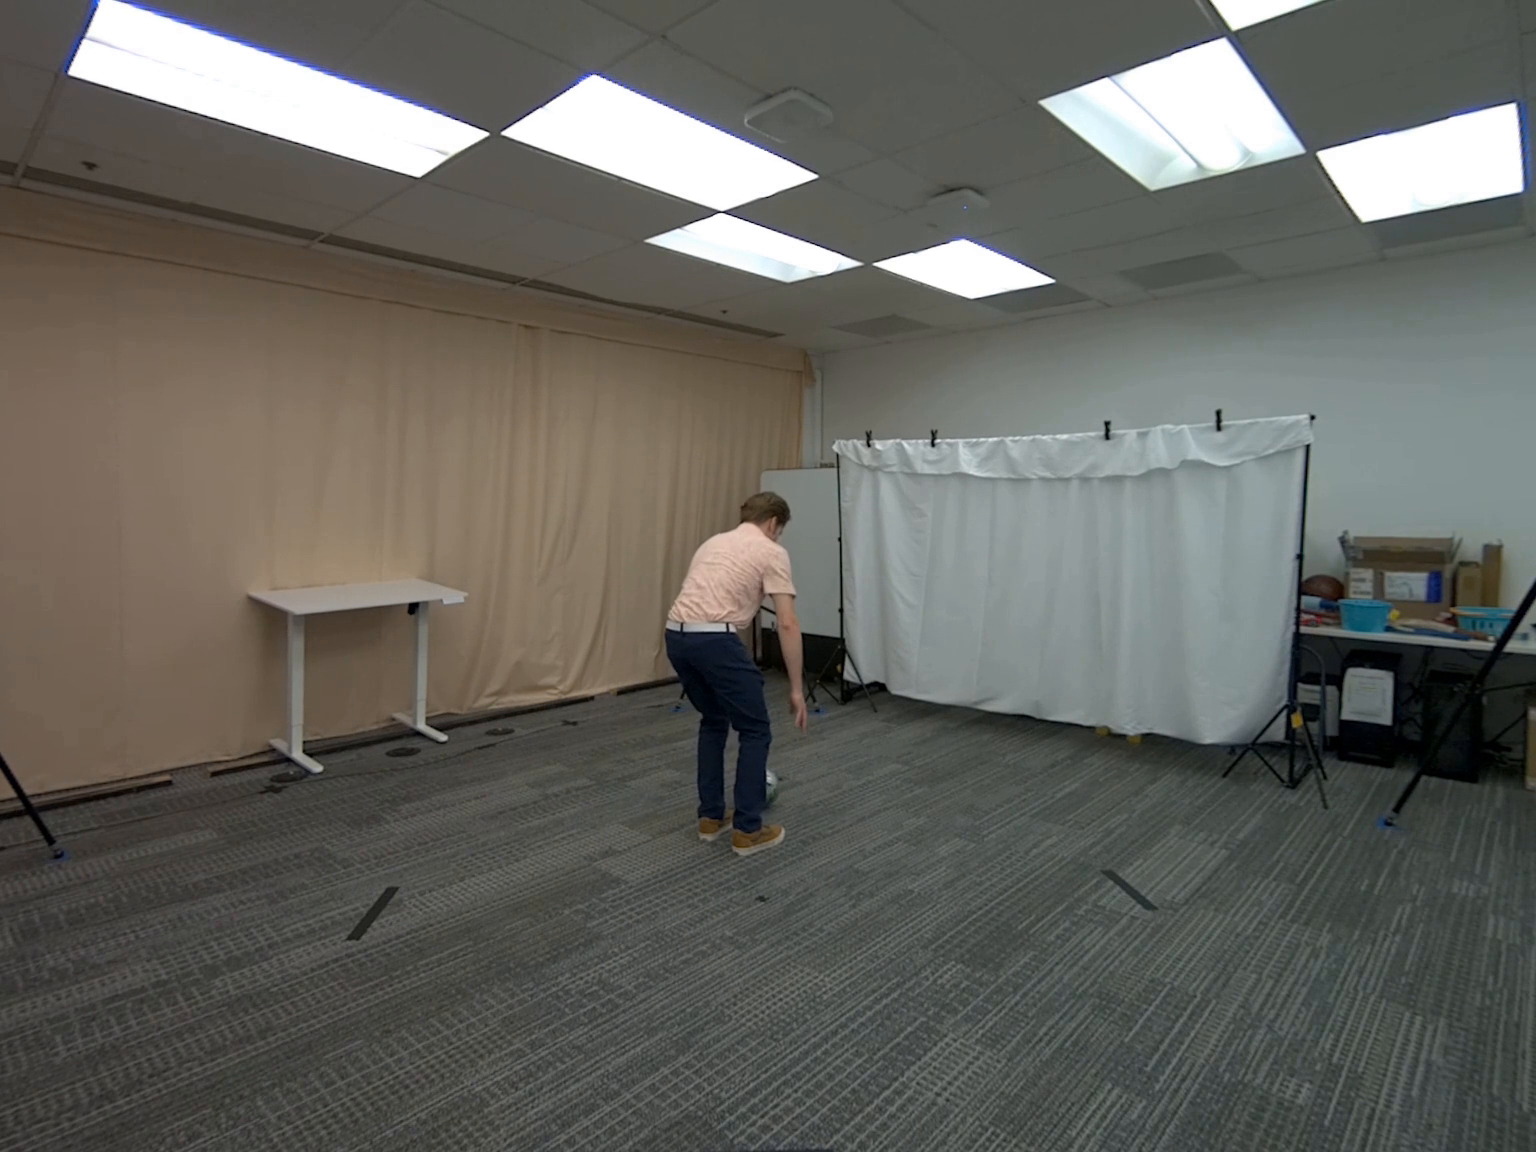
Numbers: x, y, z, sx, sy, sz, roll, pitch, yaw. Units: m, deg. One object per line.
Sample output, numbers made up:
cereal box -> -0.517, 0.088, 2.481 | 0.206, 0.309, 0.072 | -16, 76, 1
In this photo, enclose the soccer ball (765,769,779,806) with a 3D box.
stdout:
soccer ball -> -0.036, 0.974, 3.895 | 0.187, 0.187, 0.188 | 0, 4, -2
